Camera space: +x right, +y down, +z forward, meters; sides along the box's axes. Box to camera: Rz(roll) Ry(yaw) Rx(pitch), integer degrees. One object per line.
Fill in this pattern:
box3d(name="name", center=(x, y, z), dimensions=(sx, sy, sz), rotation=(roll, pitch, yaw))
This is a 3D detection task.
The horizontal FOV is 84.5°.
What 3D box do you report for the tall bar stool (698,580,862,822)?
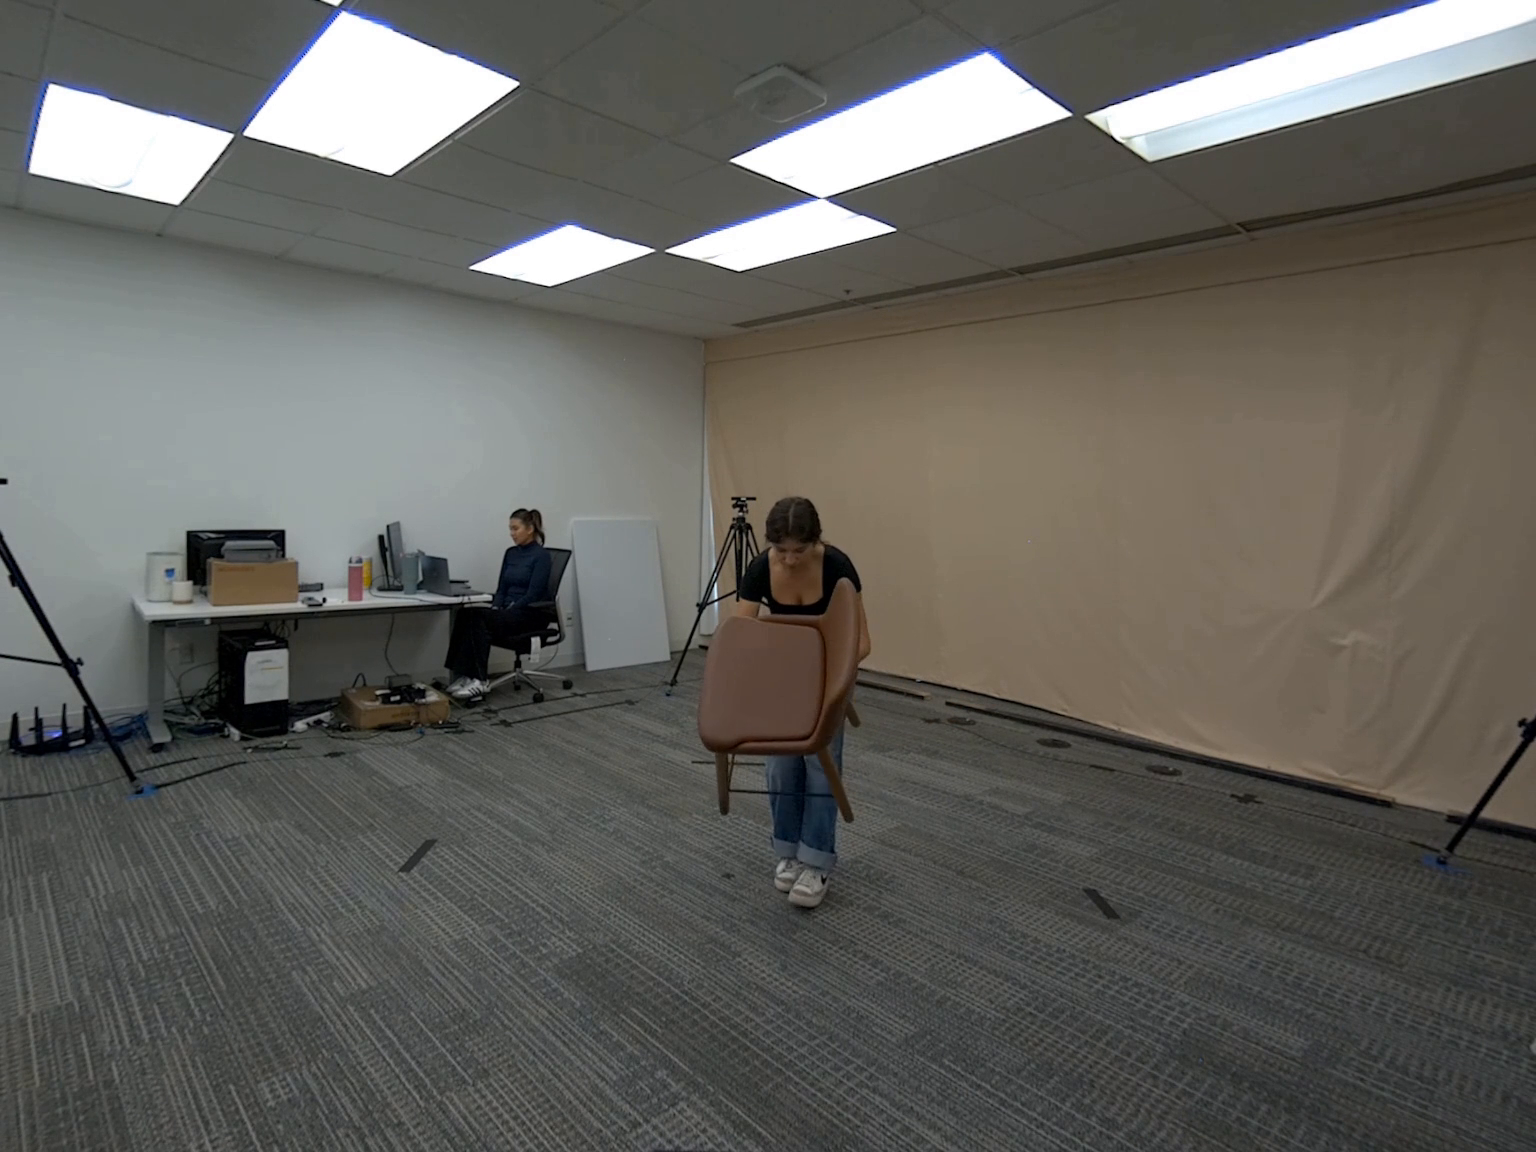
box3d(name="tall bar stool", center=(0.031, 0.413, 2.610), dimensions=(0.472, 0.464, 0.867), rotation=(3, -35, 9))
